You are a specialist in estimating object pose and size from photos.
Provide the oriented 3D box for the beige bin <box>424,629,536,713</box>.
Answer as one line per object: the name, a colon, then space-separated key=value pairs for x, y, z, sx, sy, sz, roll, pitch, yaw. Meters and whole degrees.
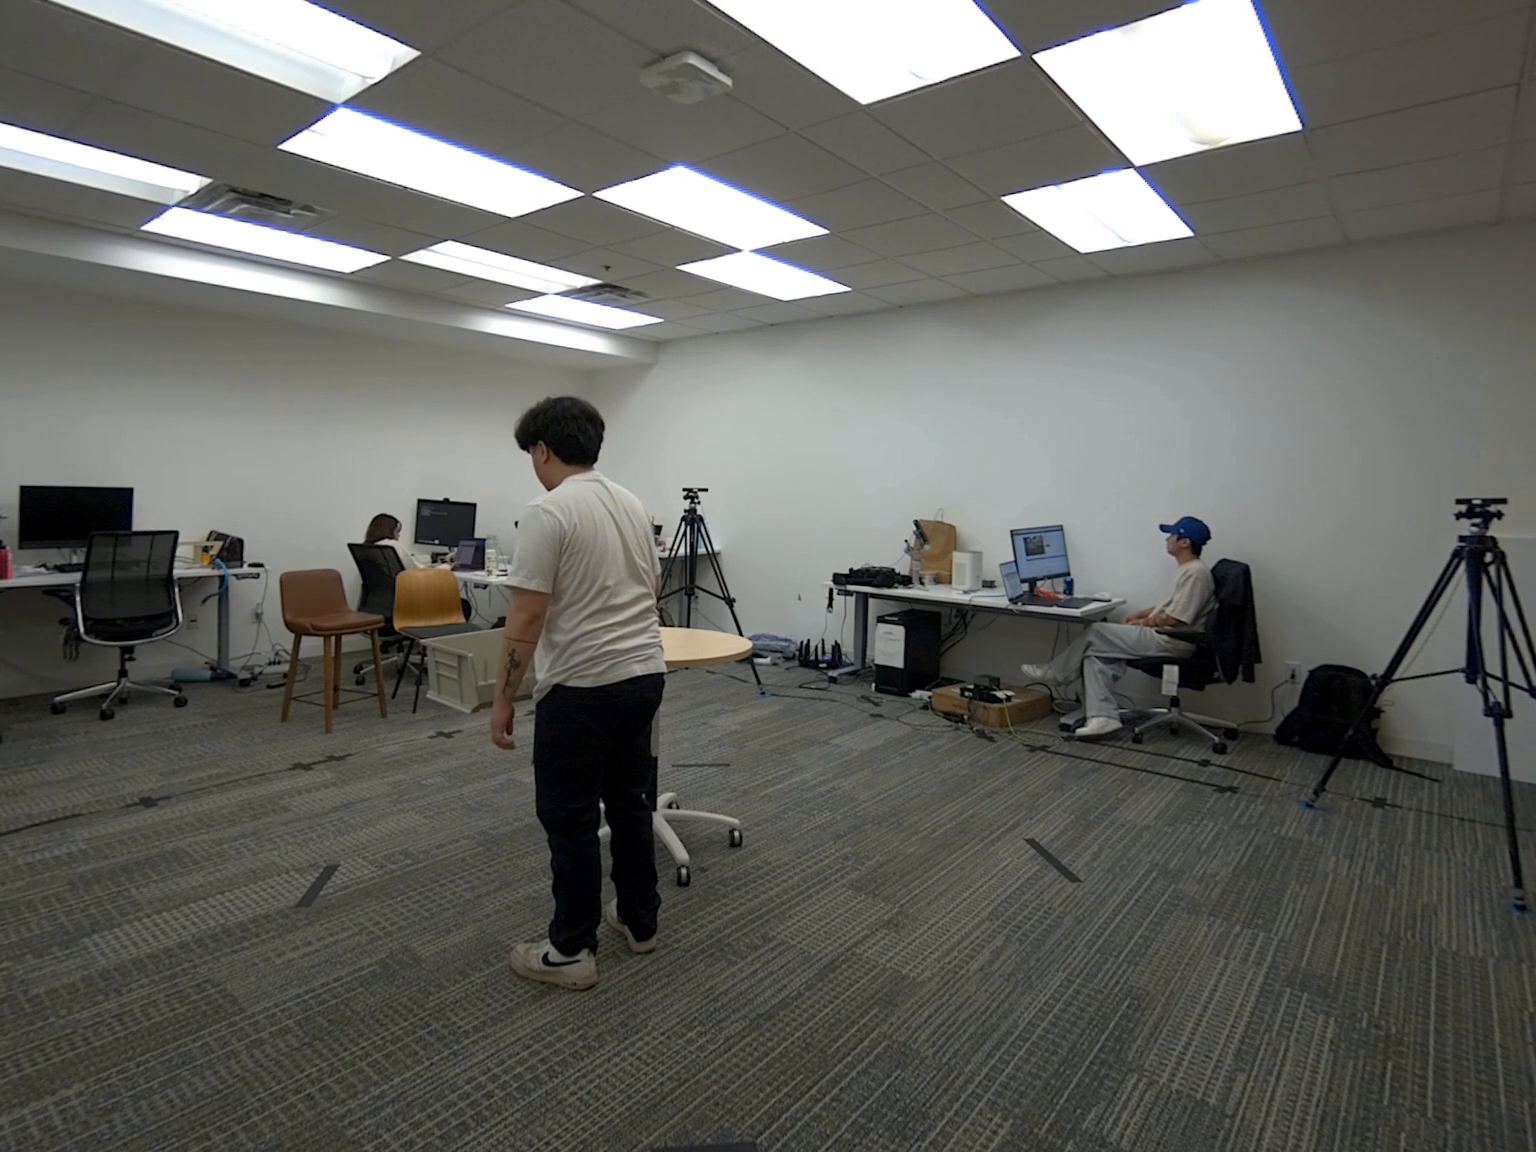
beige bin: x=-0.825 y=0.277 z=2.671 sx=0.410 sy=0.188 sz=0.390 roll=-7 pitch=7 yaw=-43
